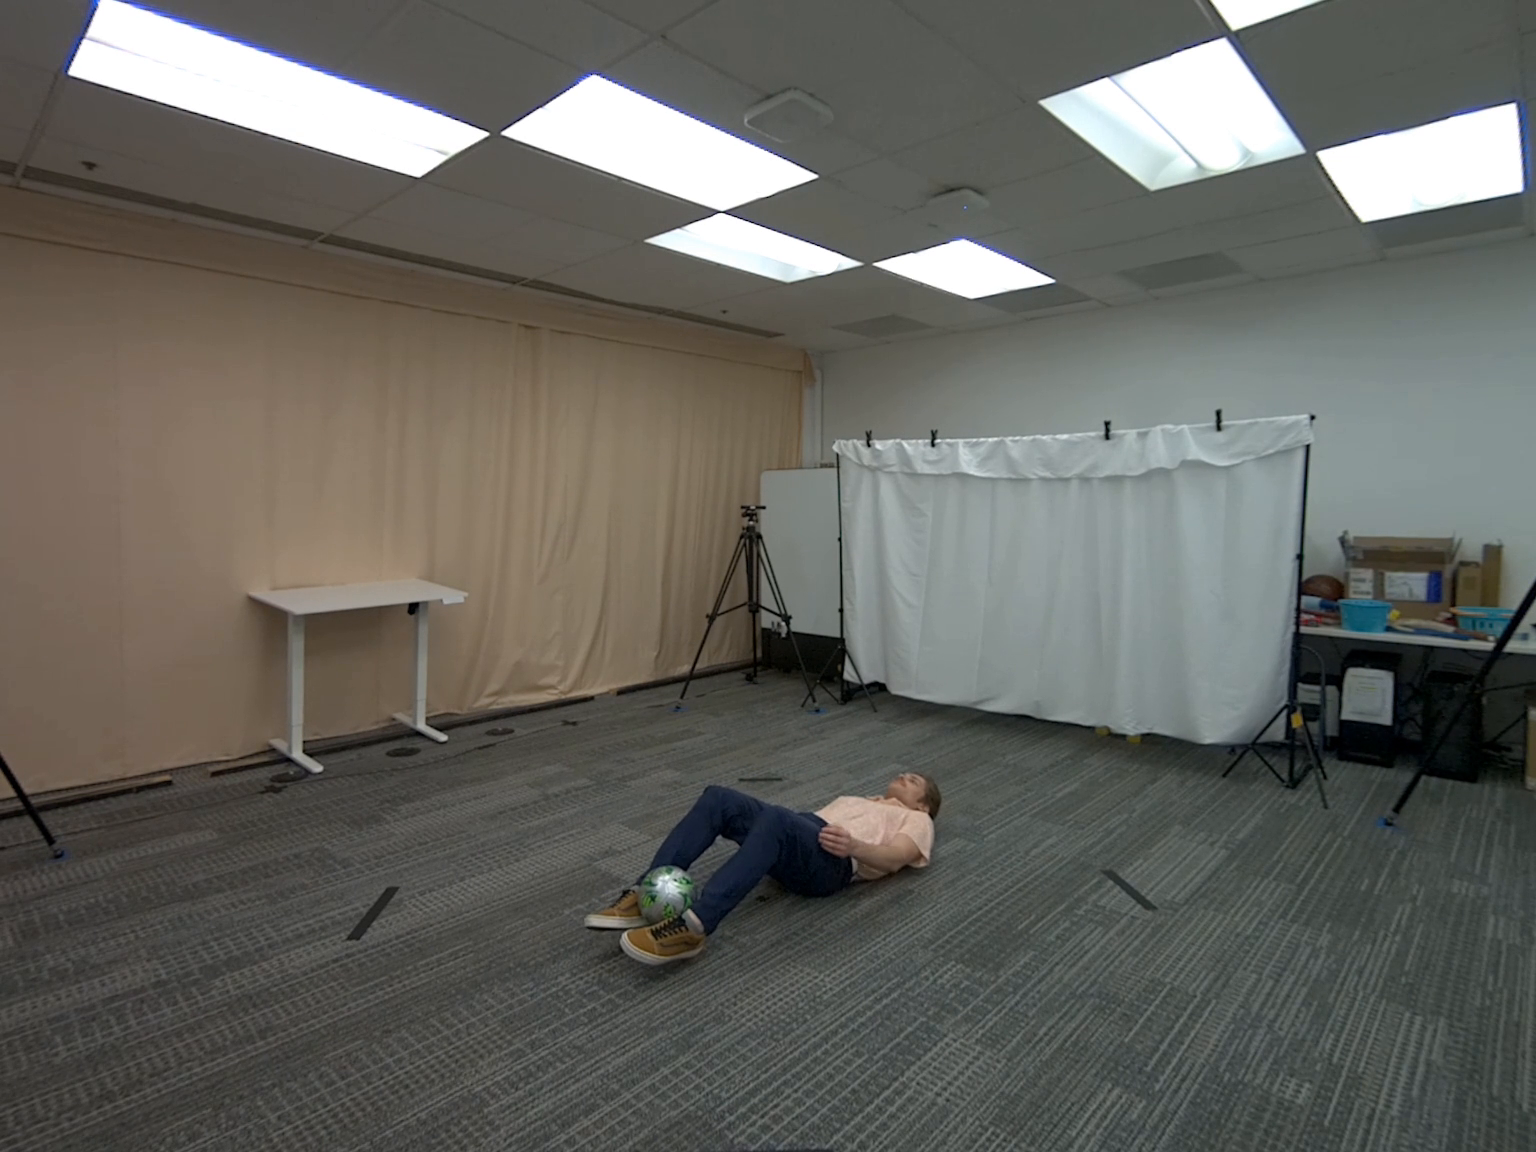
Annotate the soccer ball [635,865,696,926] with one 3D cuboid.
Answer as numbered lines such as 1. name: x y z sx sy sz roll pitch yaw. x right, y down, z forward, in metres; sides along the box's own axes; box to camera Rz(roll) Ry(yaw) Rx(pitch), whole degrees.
1. soccer ball: -0.311 1.002 2.646 0.187 0.187 0.188 0 4 -2
